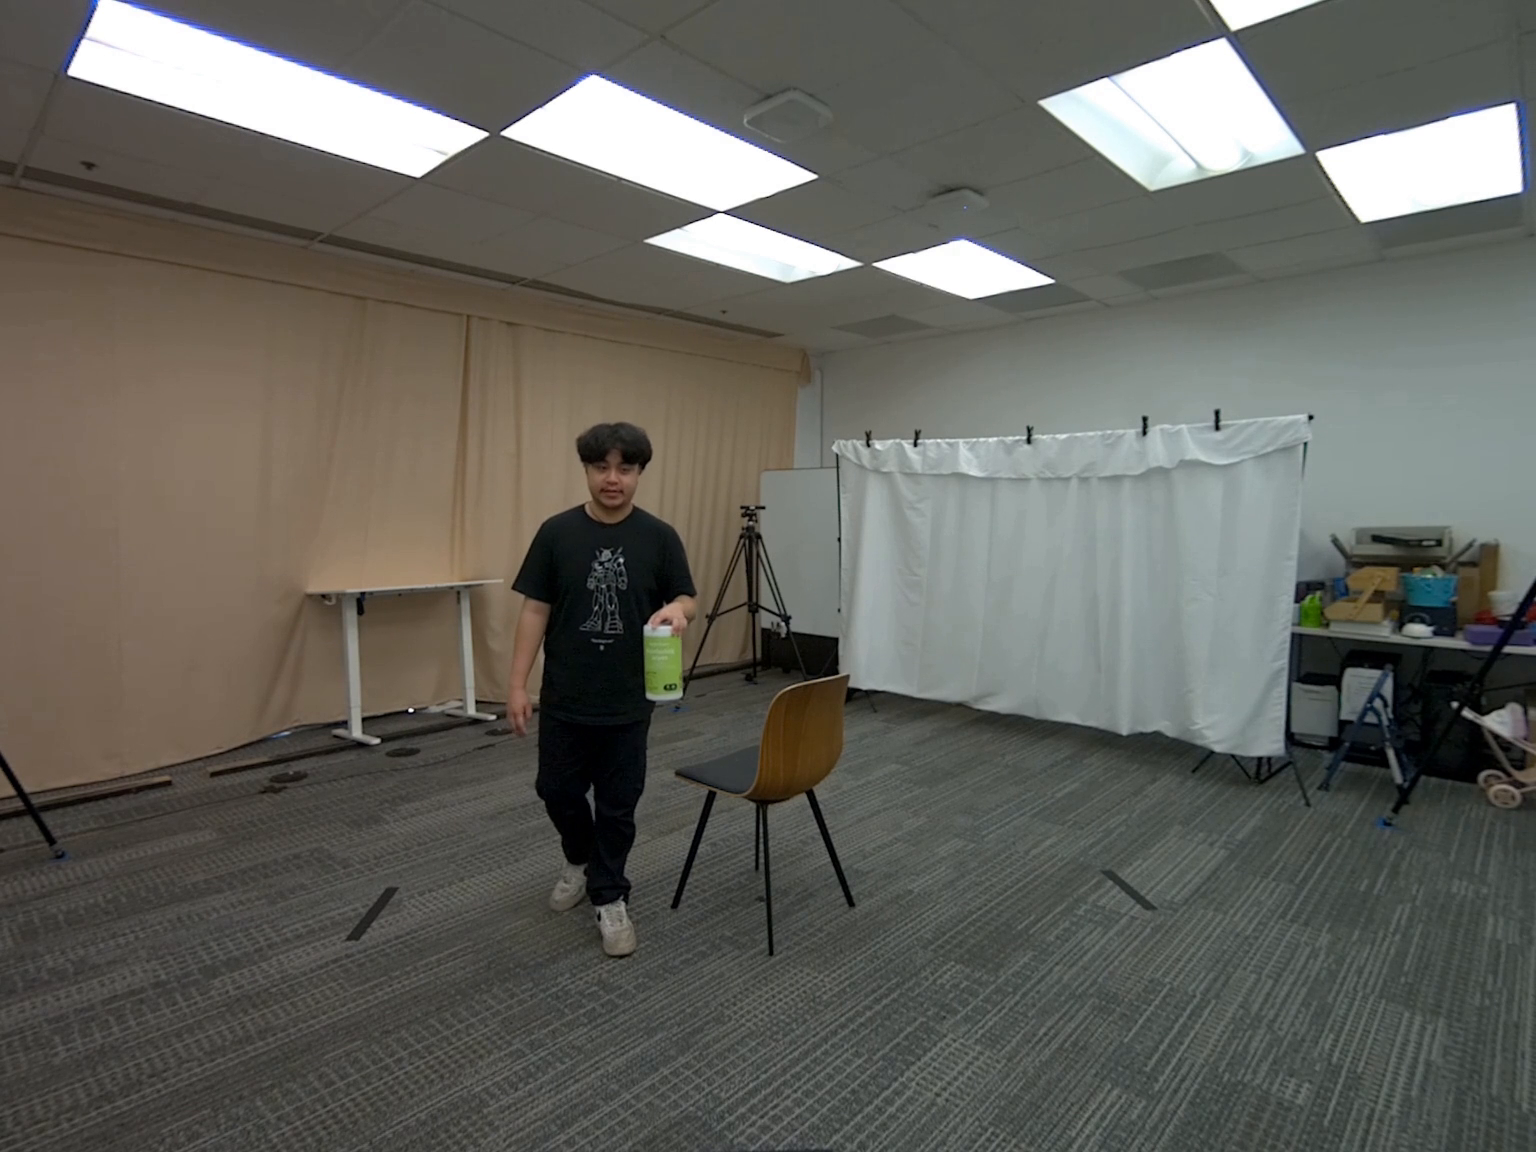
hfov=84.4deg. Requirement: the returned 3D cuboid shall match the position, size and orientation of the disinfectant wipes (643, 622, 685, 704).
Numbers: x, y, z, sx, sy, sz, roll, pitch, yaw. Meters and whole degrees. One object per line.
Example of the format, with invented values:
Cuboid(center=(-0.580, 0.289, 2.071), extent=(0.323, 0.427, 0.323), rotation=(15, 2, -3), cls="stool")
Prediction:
Cuboid(center=(-0.307, 0.249, 2.453), extent=(0.118, 0.217, 0.118), rotation=(-1, 1, -2), cls="disinfectant wipes")
